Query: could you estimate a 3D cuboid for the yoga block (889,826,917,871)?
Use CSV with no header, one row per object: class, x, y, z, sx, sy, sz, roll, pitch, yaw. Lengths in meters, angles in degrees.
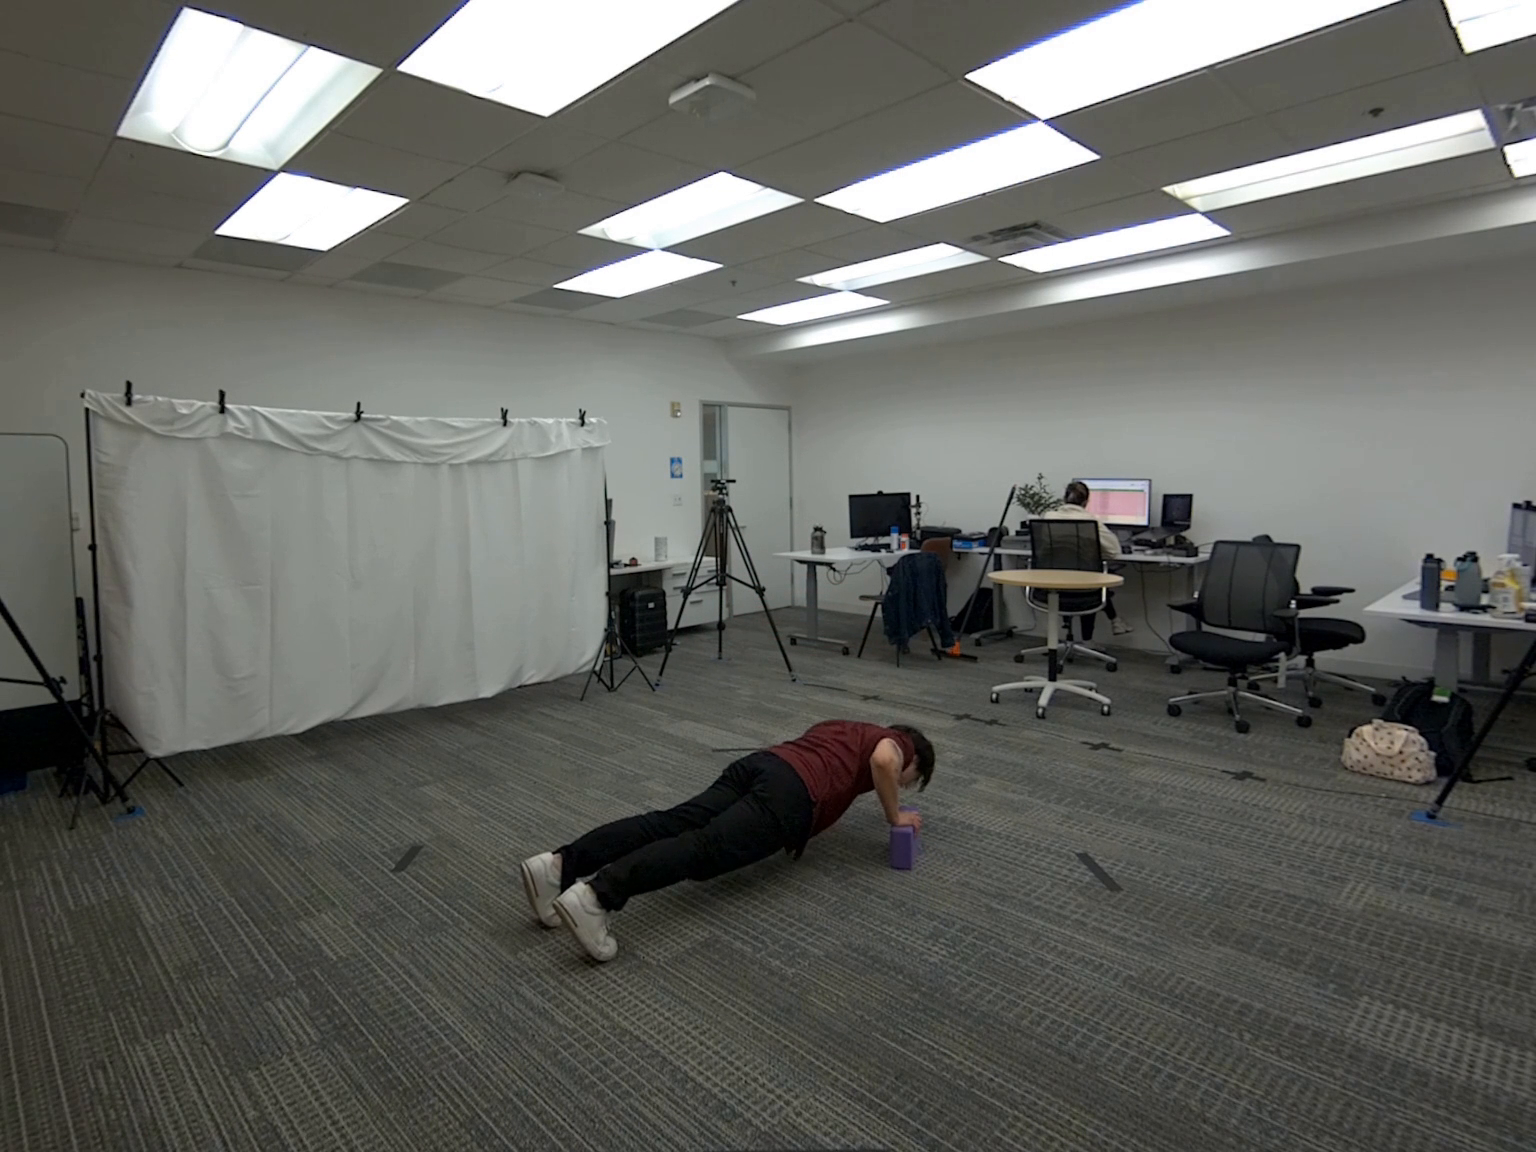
yoga block,0.494,0.955,3.140,0.078,0.148,0.227,-1,7,17
